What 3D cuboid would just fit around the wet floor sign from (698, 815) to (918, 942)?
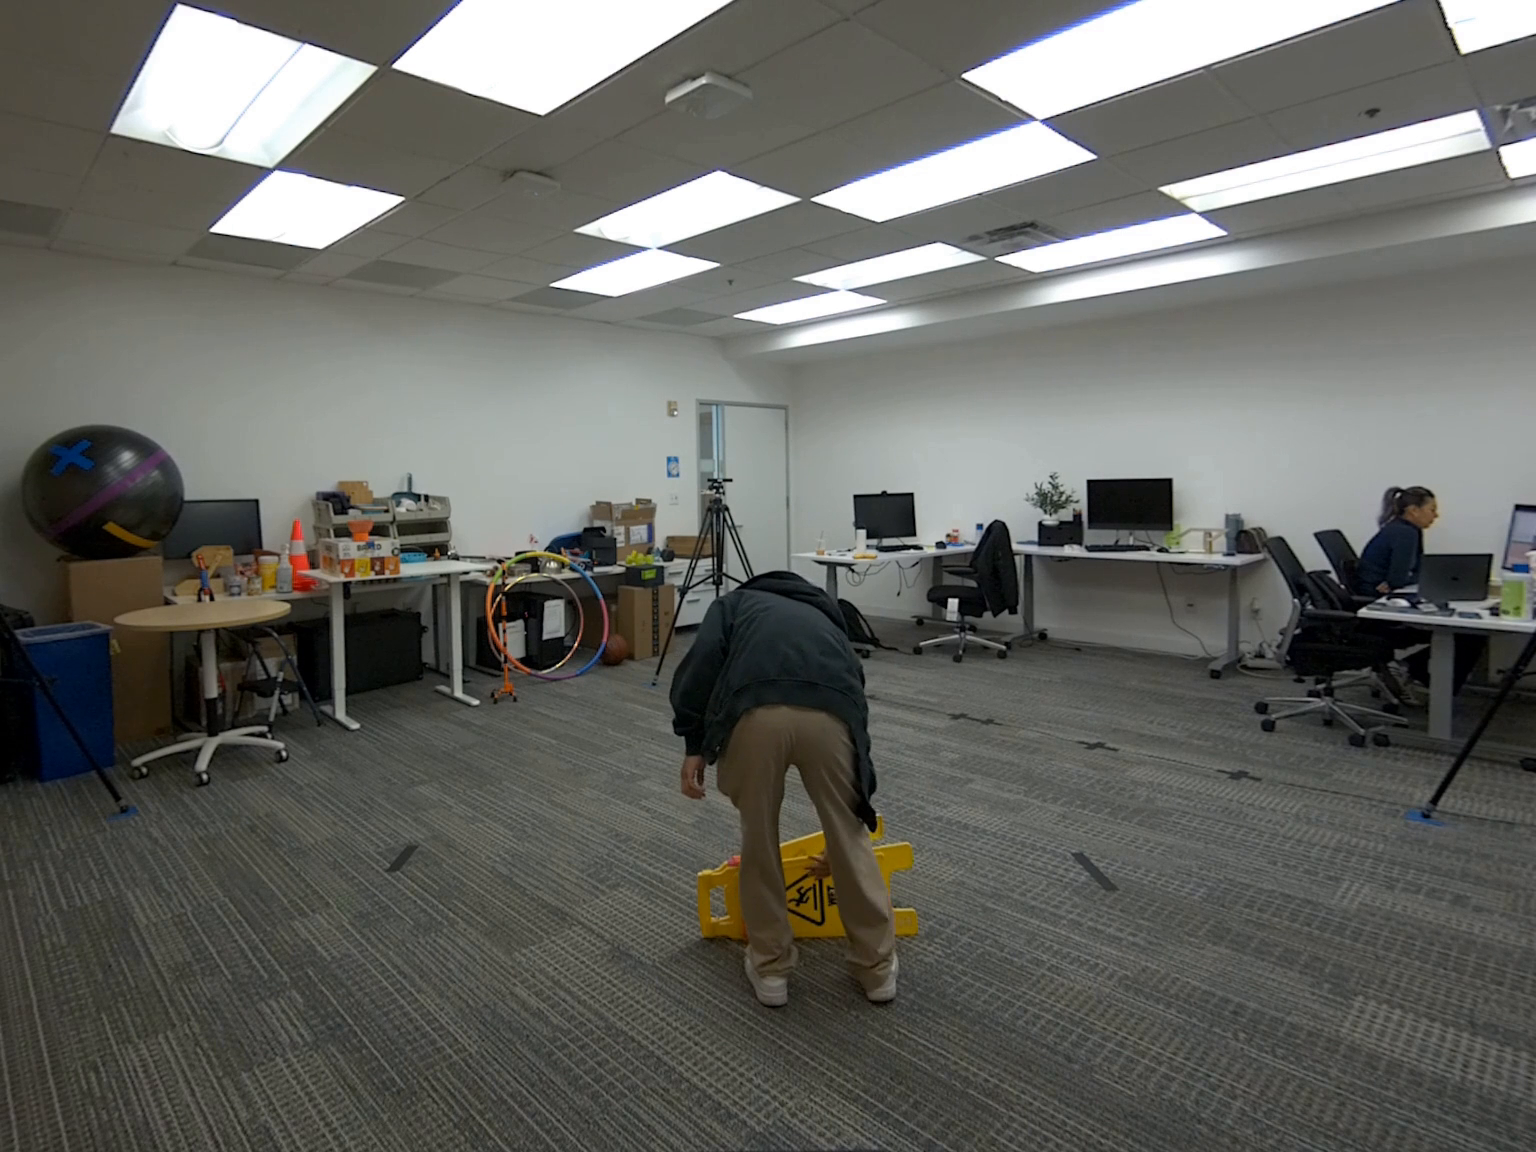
[{"bbox_3d":[0.110,0.969,2.649,0.639,0.281,0.294,-6,5,-12],"label":"wet floor sign"}]
